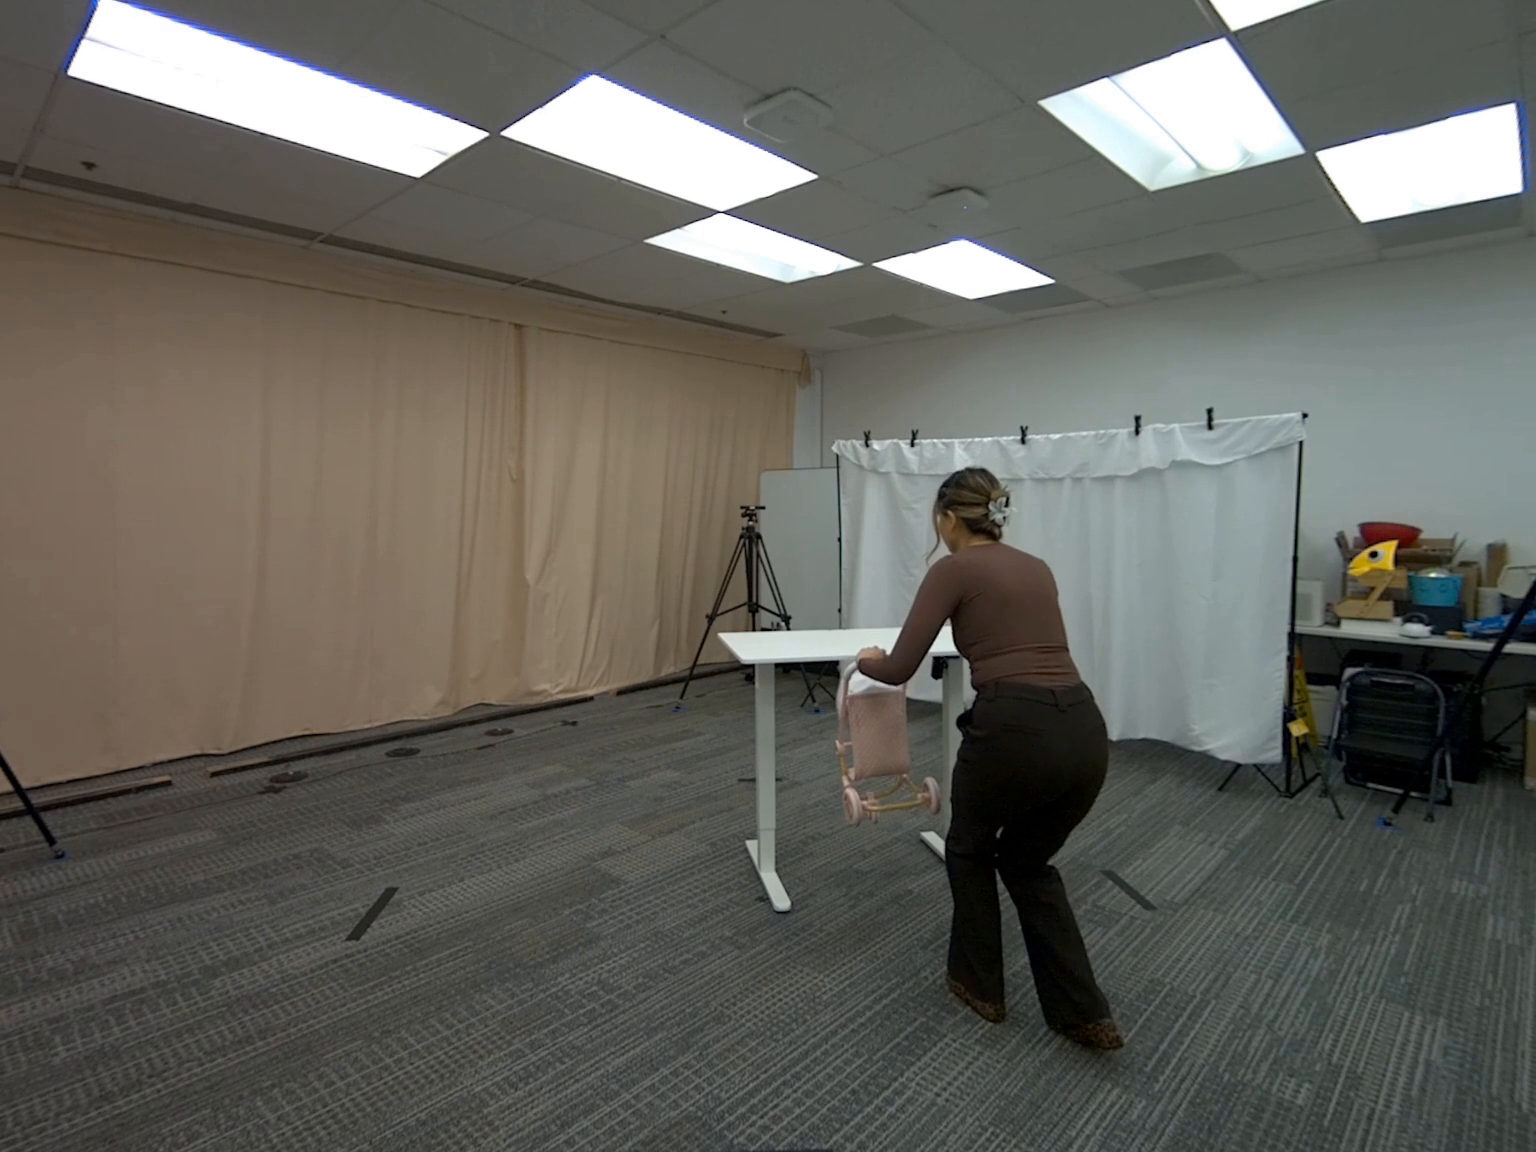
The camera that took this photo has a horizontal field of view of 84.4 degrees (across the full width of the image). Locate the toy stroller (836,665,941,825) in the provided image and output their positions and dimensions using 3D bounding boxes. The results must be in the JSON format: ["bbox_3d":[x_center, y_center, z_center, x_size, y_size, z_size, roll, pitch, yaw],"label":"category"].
[{"bbox_3d":[0.344,0.530,2.647,0.280,0.537,0.341,-7,-6,-5],"label":"toy stroller"}]
